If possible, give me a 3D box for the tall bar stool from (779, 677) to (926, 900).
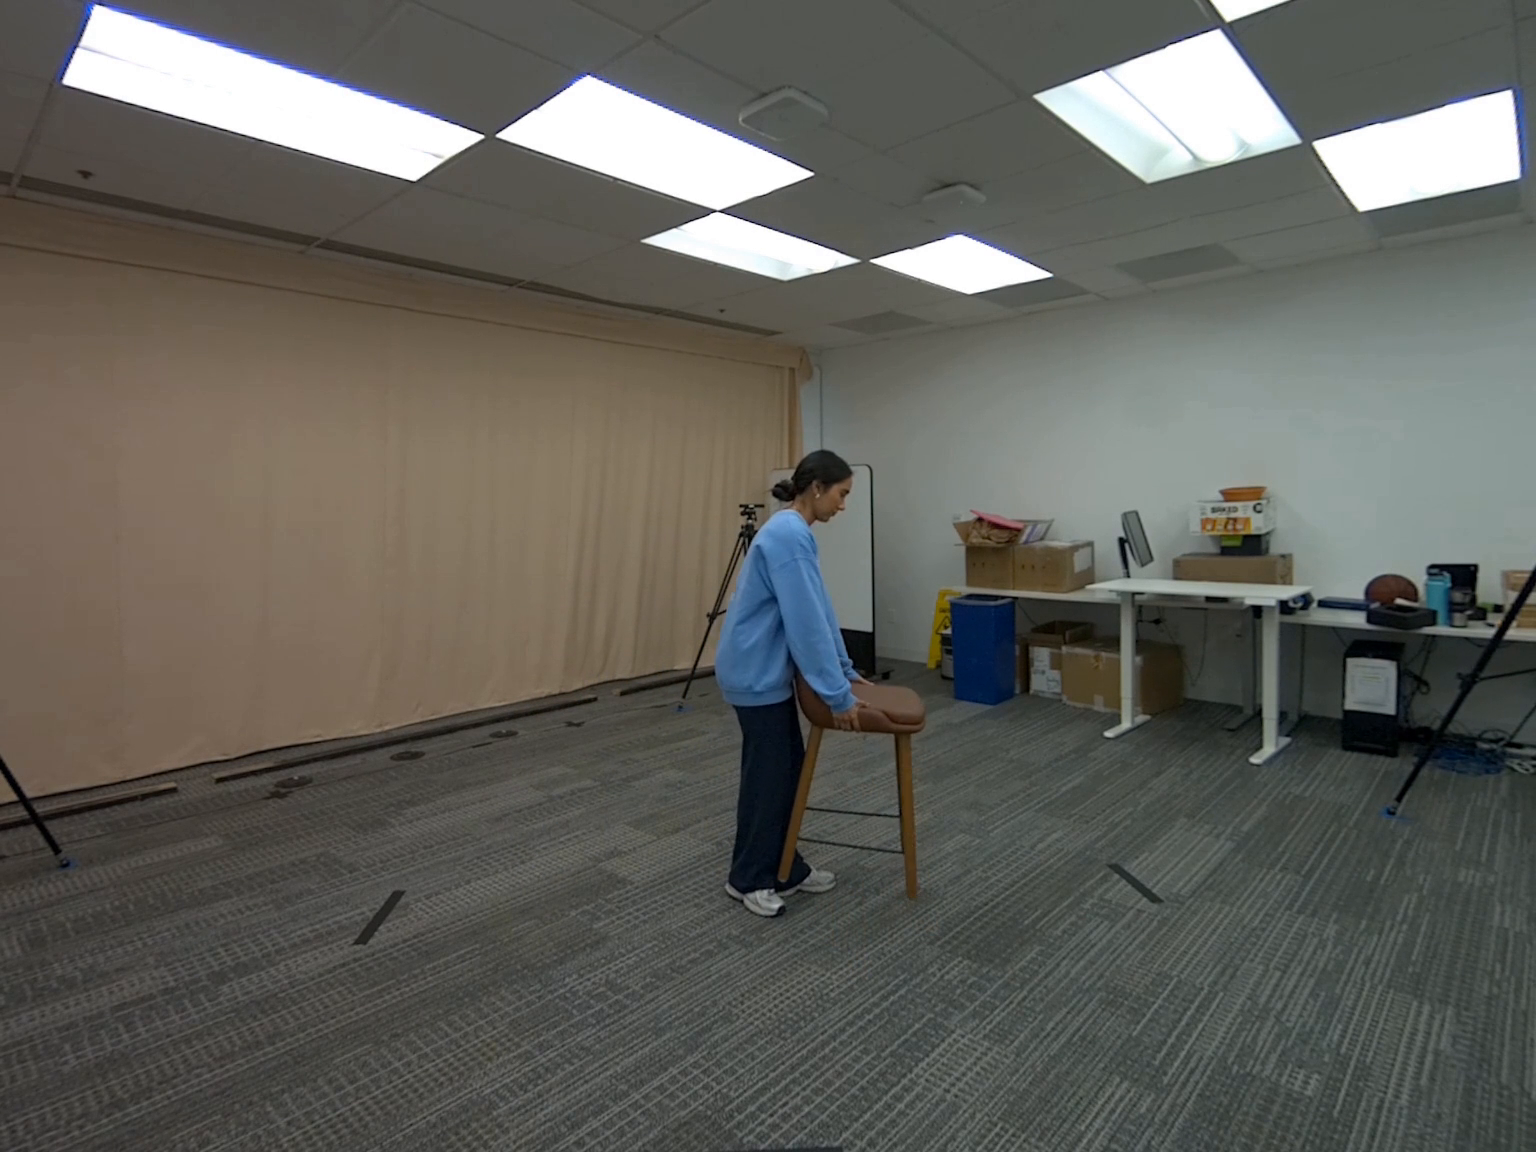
[{"bbox_3d":[0.310,0.588,2.926,0.473,0.888,0.452,3,2,9],"label":"tall bar stool"}]
